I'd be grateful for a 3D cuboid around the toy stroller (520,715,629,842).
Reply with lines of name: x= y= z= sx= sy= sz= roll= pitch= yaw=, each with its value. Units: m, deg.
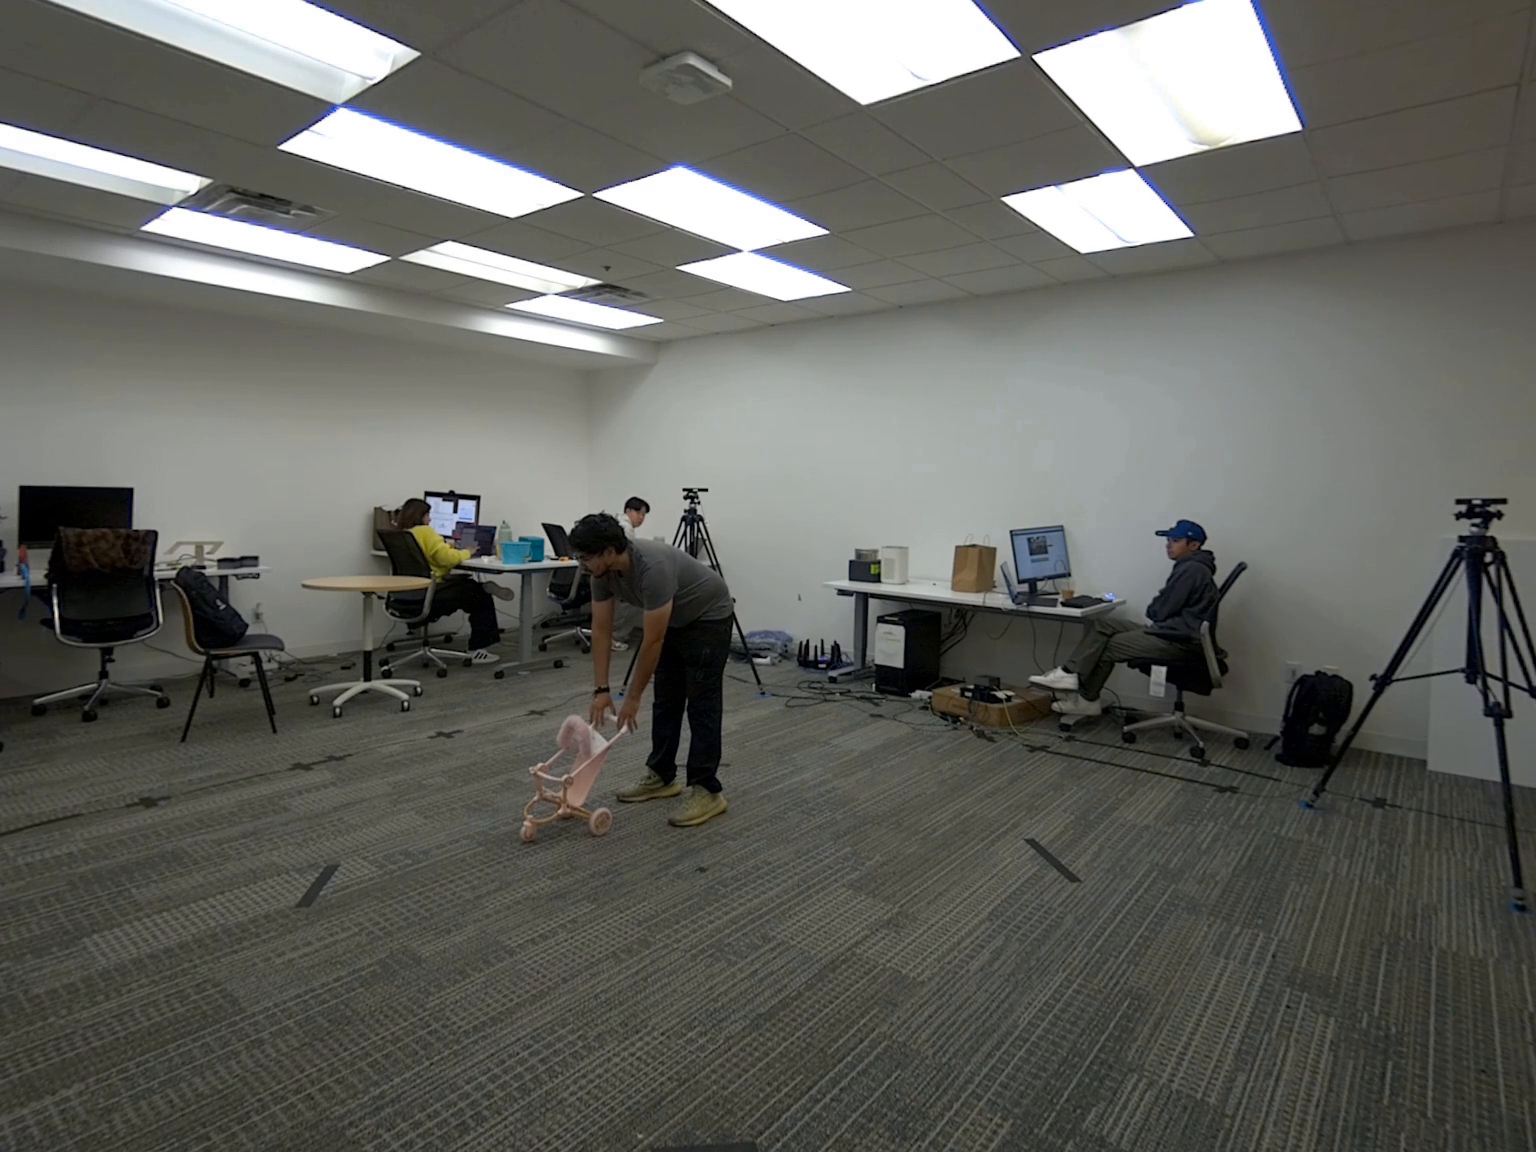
toy stroller: x=-0.809 y=0.803 z=3.447 sx=0.328 sy=0.538 sz=0.291 roll=20 pitch=-10 yaw=-39
